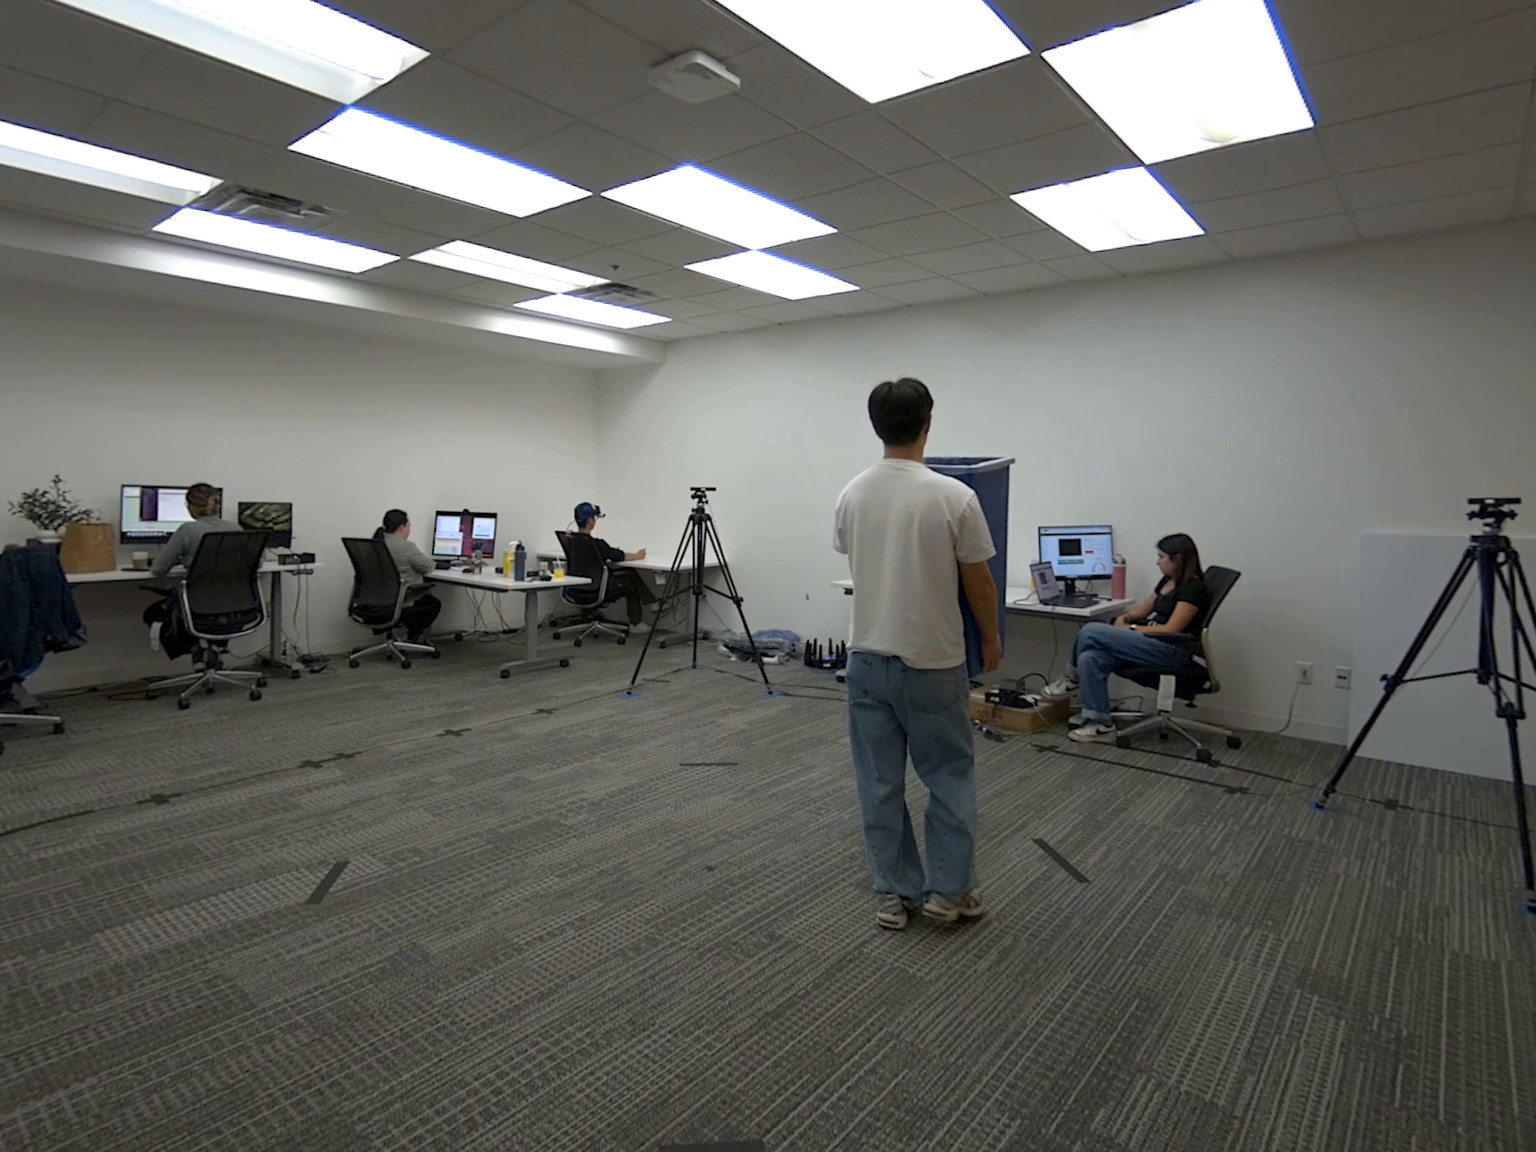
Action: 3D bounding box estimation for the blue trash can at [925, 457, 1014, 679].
[{"bbox_3d":[0.624,-0.054,2.971,0.386,0.706,0.370,3,13,37],"label":"blue trash can"}]
